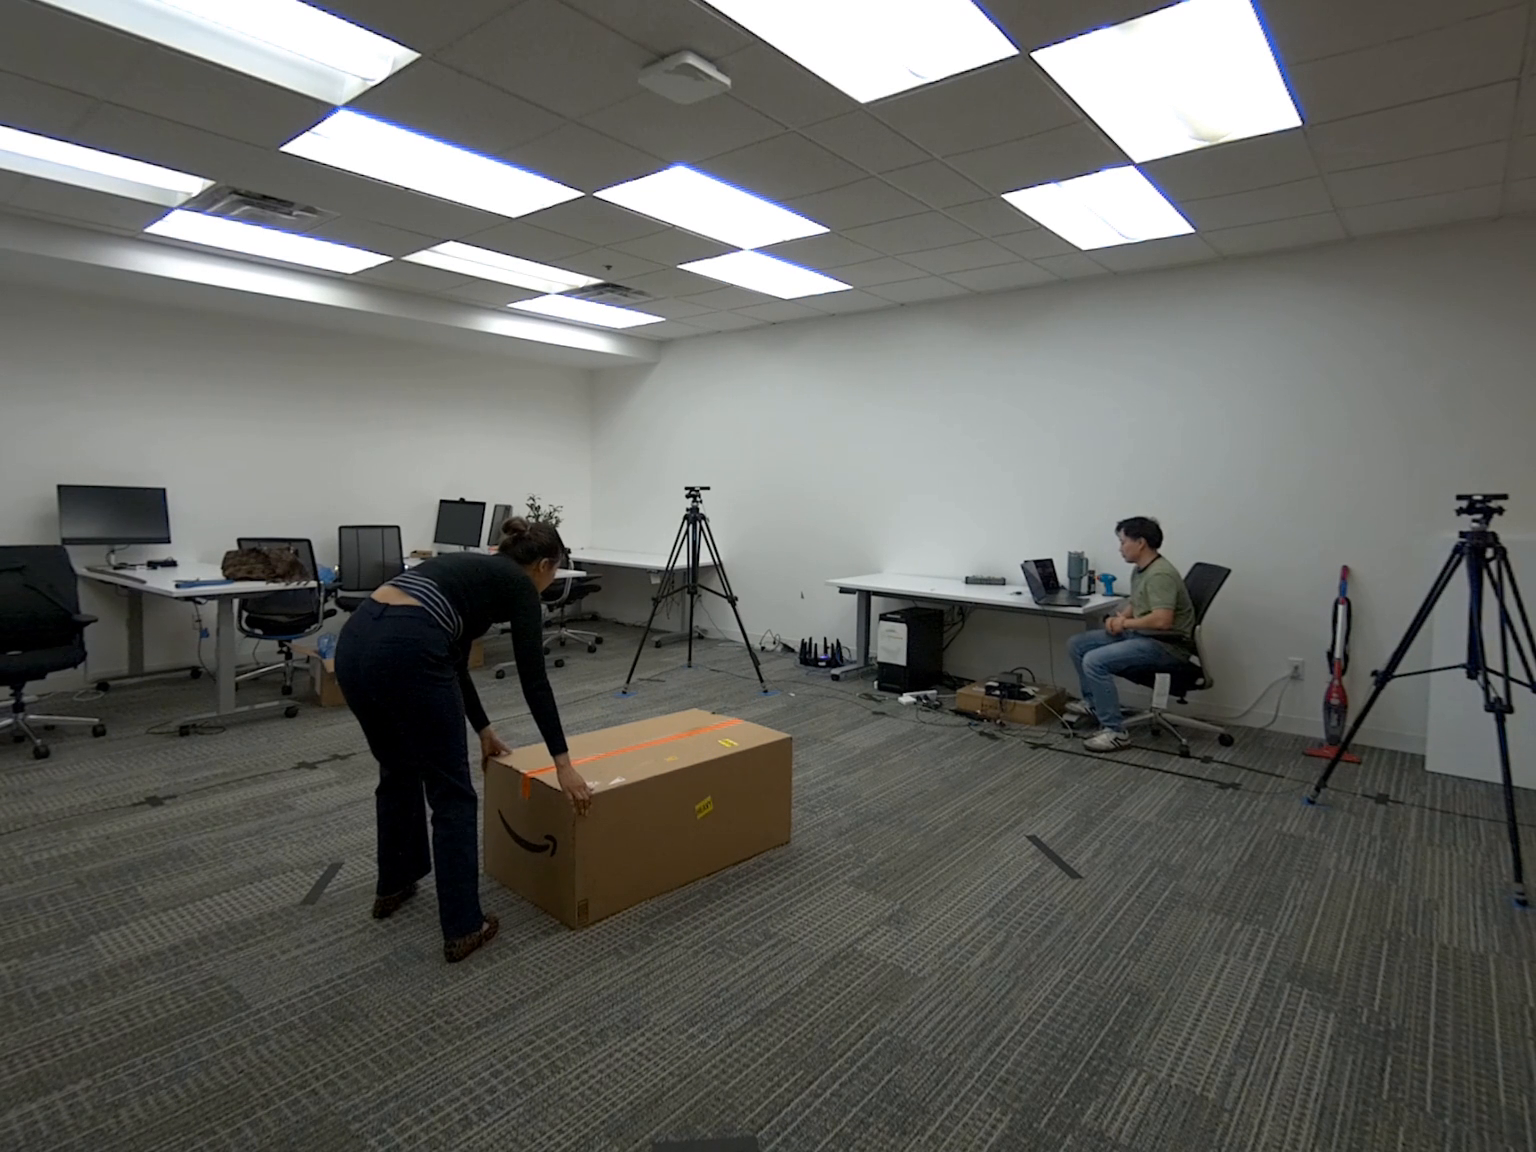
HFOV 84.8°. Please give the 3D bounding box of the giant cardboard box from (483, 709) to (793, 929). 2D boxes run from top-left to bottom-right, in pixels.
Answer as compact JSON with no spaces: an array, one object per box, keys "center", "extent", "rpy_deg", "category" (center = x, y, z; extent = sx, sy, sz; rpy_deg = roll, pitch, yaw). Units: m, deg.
[{"center":[-0.467,0.841,3.196],"extent":[0.597,0.424,0.995],"rpy_deg":[6,8,44],"category":"giant cardboard box"}]
